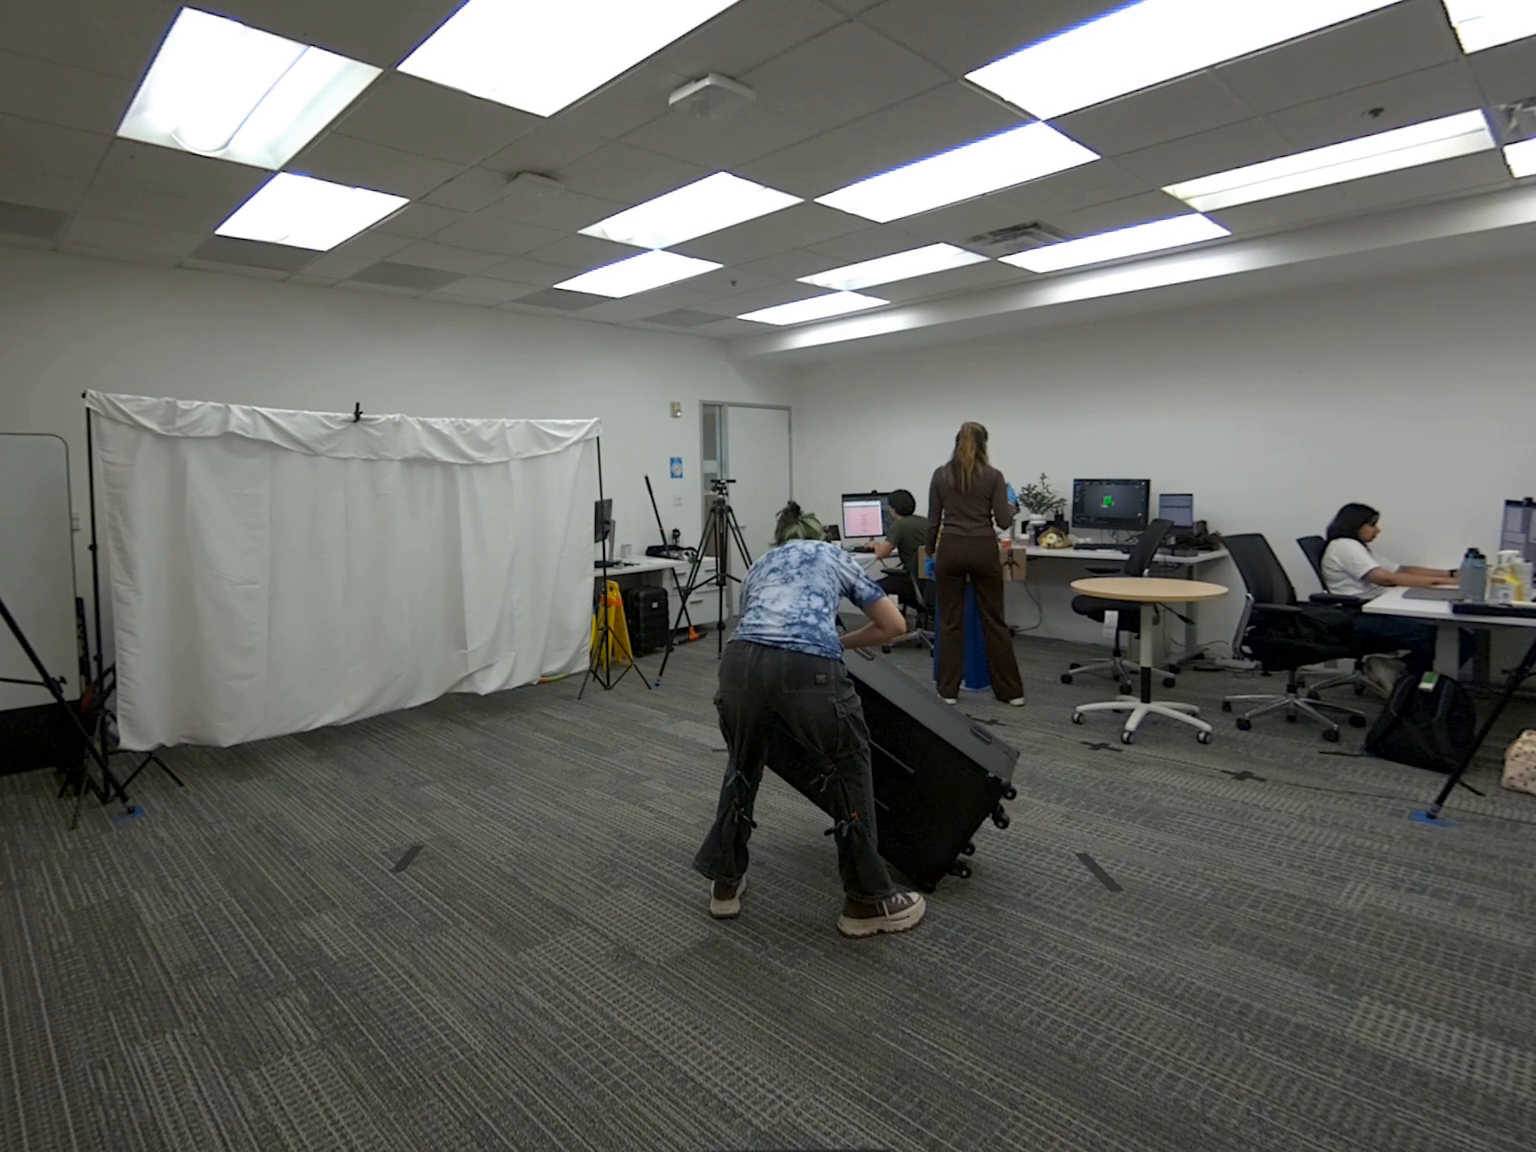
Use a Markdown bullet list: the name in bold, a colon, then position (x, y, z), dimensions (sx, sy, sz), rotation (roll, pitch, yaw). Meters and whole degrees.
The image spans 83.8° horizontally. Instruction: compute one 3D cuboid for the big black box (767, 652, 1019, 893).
- **big black box**: position (0.437, 0.646, 3.056), dimensions (0.882, 0.518, 0.389), rotation (35, 17, 18)
